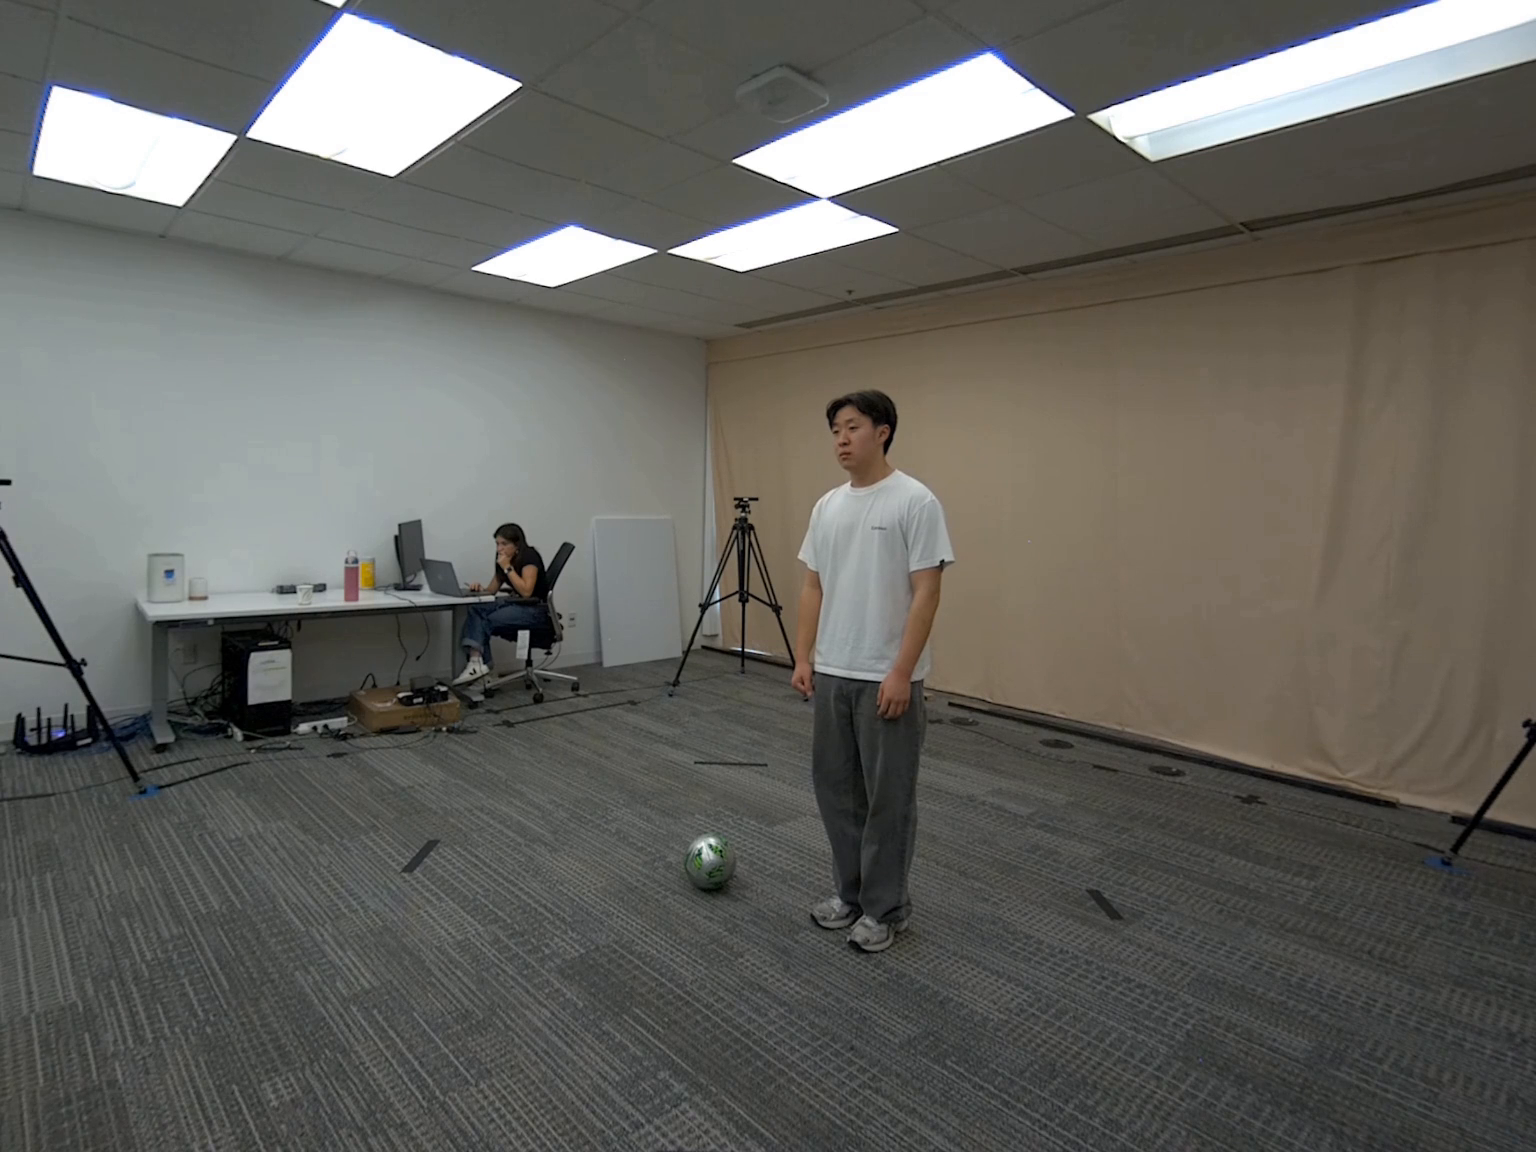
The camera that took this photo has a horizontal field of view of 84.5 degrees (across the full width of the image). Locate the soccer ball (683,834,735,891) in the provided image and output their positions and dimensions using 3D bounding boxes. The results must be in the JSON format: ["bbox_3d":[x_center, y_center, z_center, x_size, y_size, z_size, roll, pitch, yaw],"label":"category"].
[{"bbox_3d":[-0.214,1.023,3.007,0.187,0.187,0.188,1,4,-1],"label":"soccer ball"}]
